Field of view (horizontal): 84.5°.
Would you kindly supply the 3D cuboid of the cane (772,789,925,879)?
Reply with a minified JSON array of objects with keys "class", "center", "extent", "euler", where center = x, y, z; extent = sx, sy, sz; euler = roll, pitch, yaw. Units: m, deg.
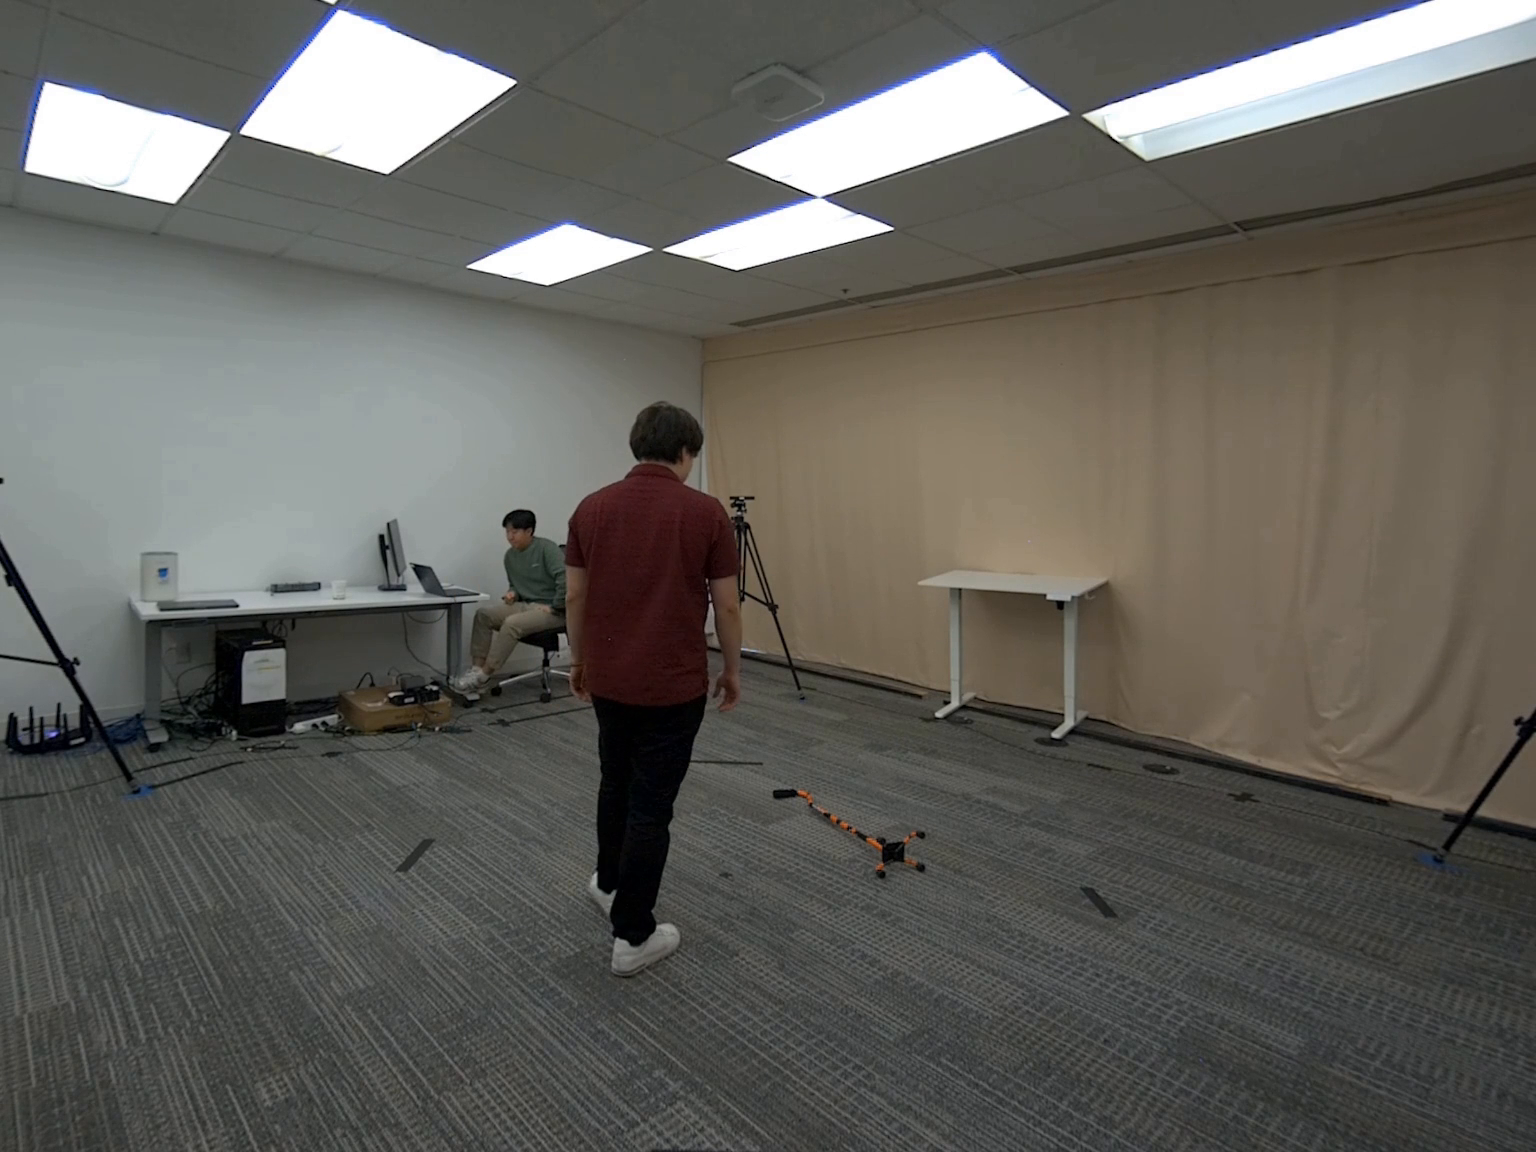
[{"class":"cane","center":[0.297,1.020,3.553],"extent":[0.203,0.151,0.925],"euler":[2,1,-25]}]
